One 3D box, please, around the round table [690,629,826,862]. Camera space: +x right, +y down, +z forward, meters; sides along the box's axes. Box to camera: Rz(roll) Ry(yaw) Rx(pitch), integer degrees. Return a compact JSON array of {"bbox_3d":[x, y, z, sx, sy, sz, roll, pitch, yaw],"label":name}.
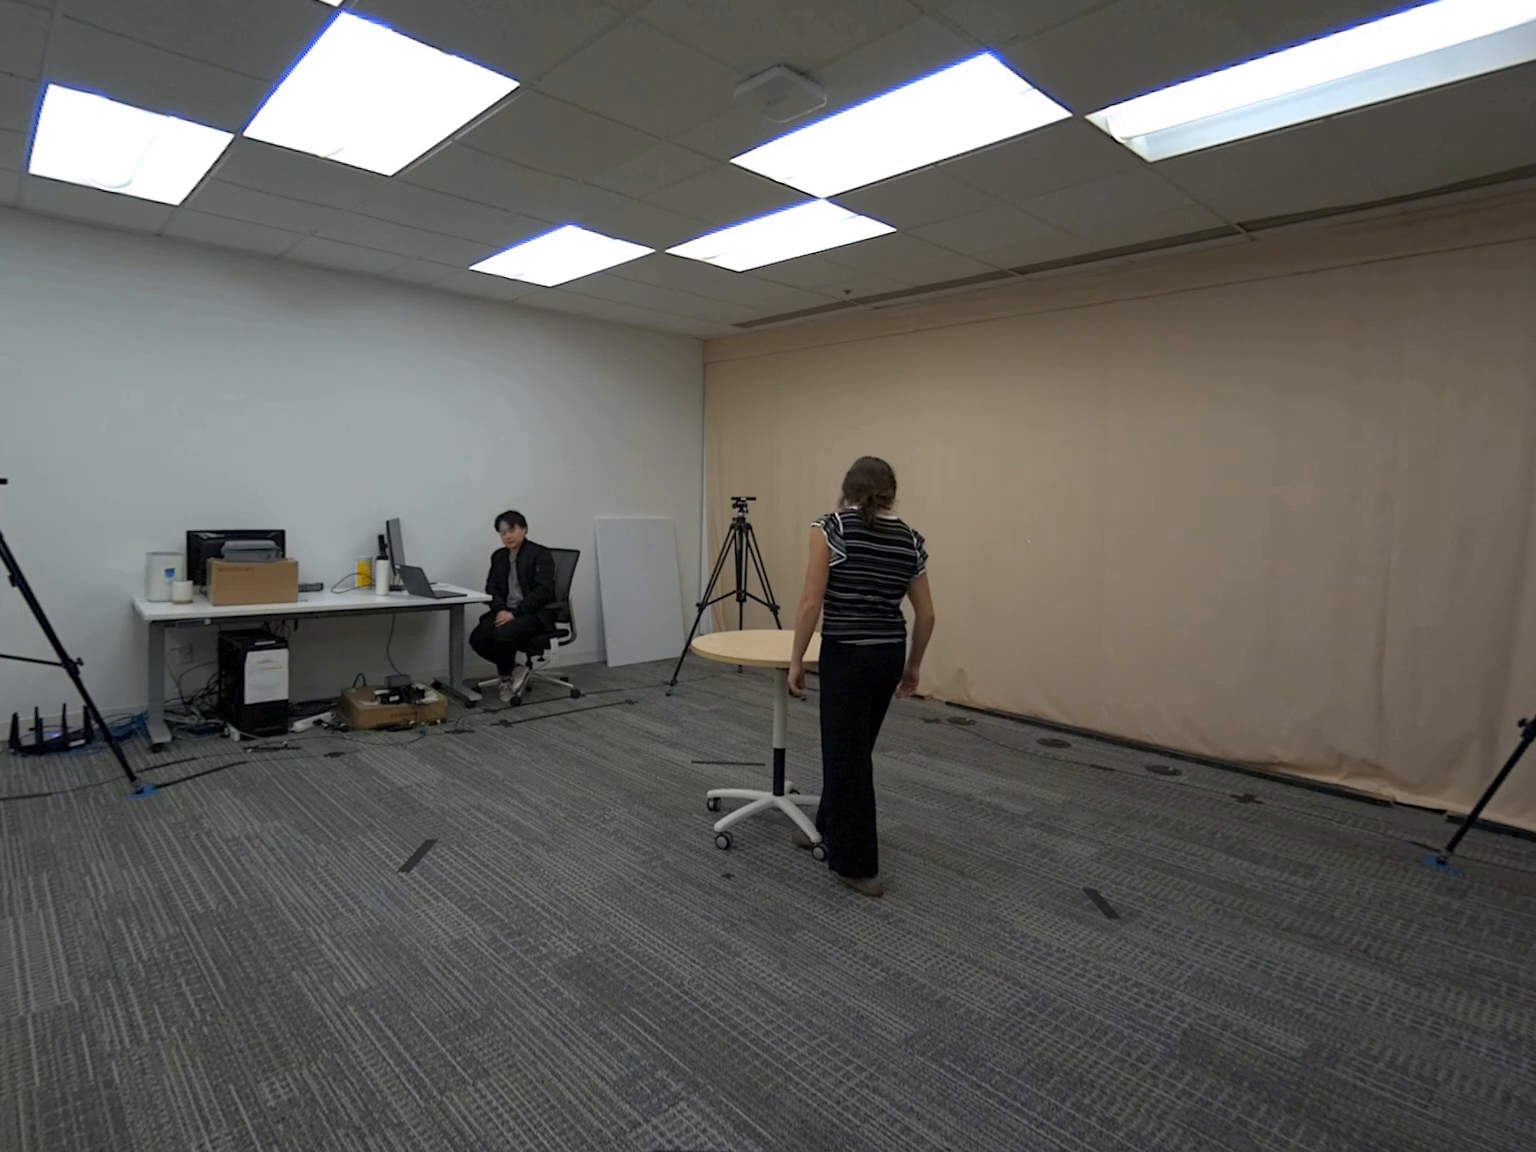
[{"bbox_3d":[0.046,0.676,3.580,0.784,0.785,0.787,1,3,-1],"label":"round table"}]
